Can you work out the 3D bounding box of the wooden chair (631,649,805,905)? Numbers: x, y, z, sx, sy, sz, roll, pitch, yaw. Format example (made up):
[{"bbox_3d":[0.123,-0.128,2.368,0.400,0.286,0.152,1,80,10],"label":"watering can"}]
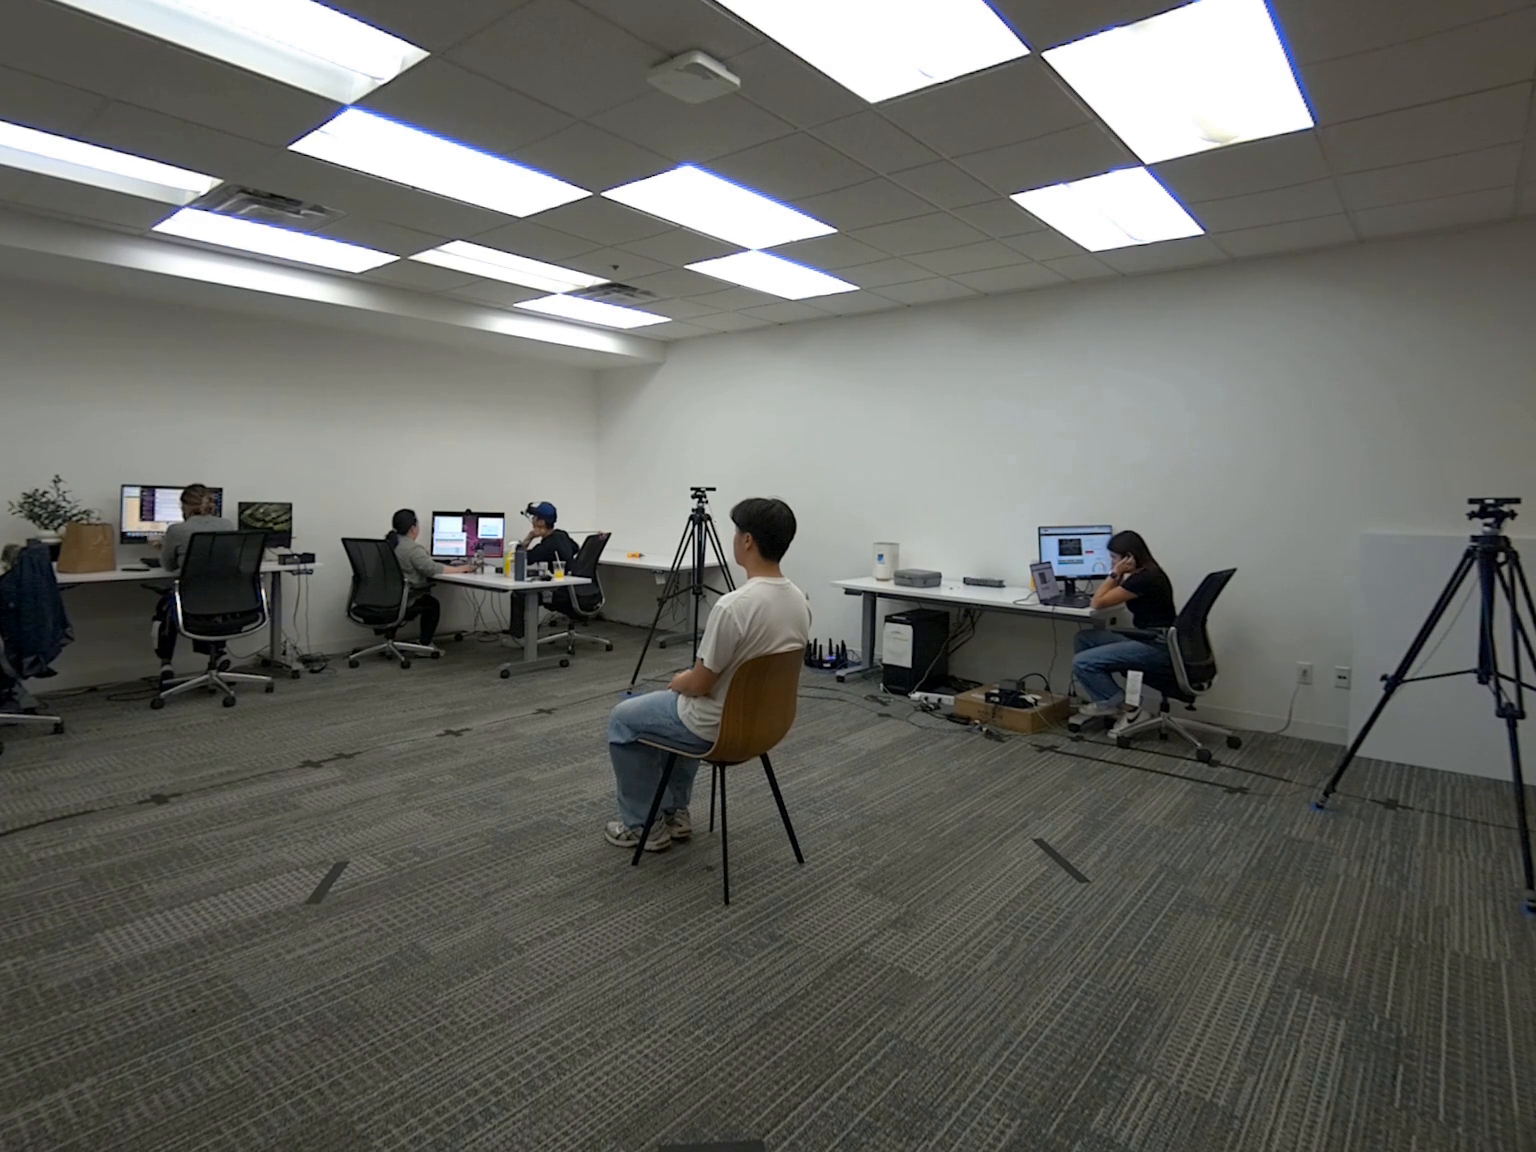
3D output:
[{"bbox_3d":[-0.181,0.639,3.119,0.542,0.873,0.464,10,7,38],"label":"wooden chair"}]
